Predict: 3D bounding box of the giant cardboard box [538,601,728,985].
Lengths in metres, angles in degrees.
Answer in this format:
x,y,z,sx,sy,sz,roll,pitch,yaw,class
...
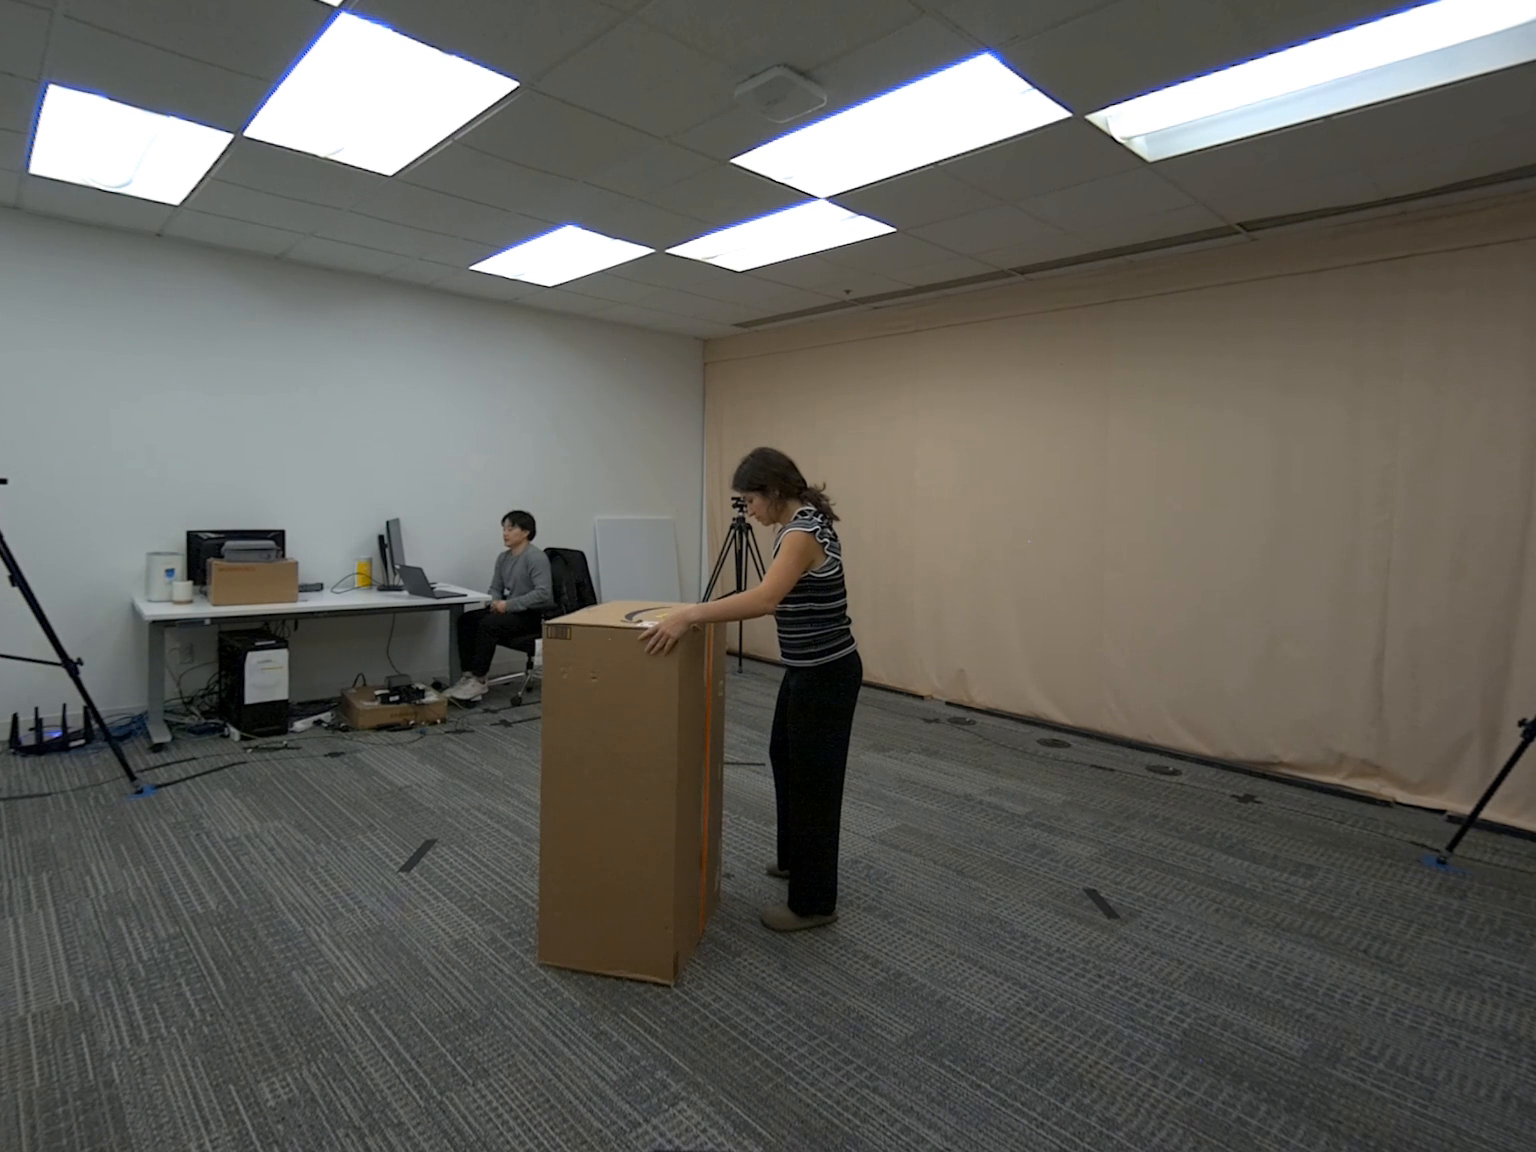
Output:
x,y,z,sx,sy,sz,roll,pitch,yaw,class
-0.418,0.633,2.684,0.430,1.024,0.572,1,2,12,giant cardboard box
